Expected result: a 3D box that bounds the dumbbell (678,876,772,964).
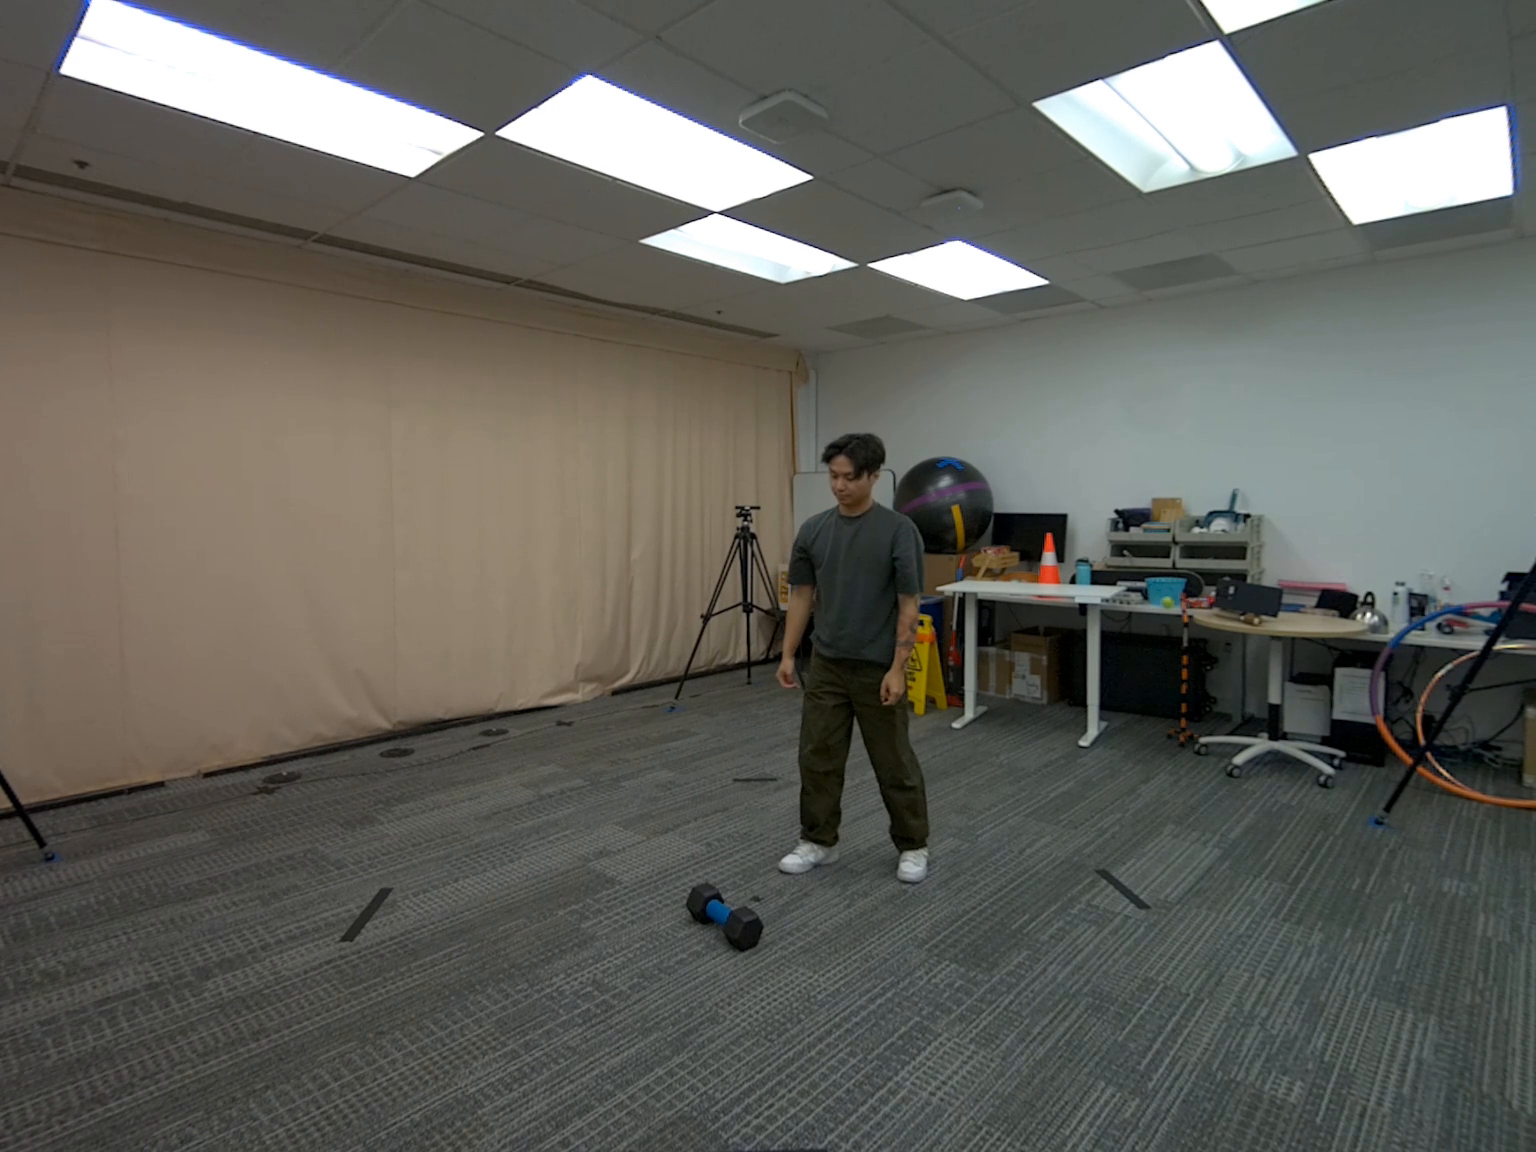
[{"bbox_3d":[-0.145,1.109,2.749,0.107,0.120,0.303,-40,26,-29],"label":"dumbbell"}]
